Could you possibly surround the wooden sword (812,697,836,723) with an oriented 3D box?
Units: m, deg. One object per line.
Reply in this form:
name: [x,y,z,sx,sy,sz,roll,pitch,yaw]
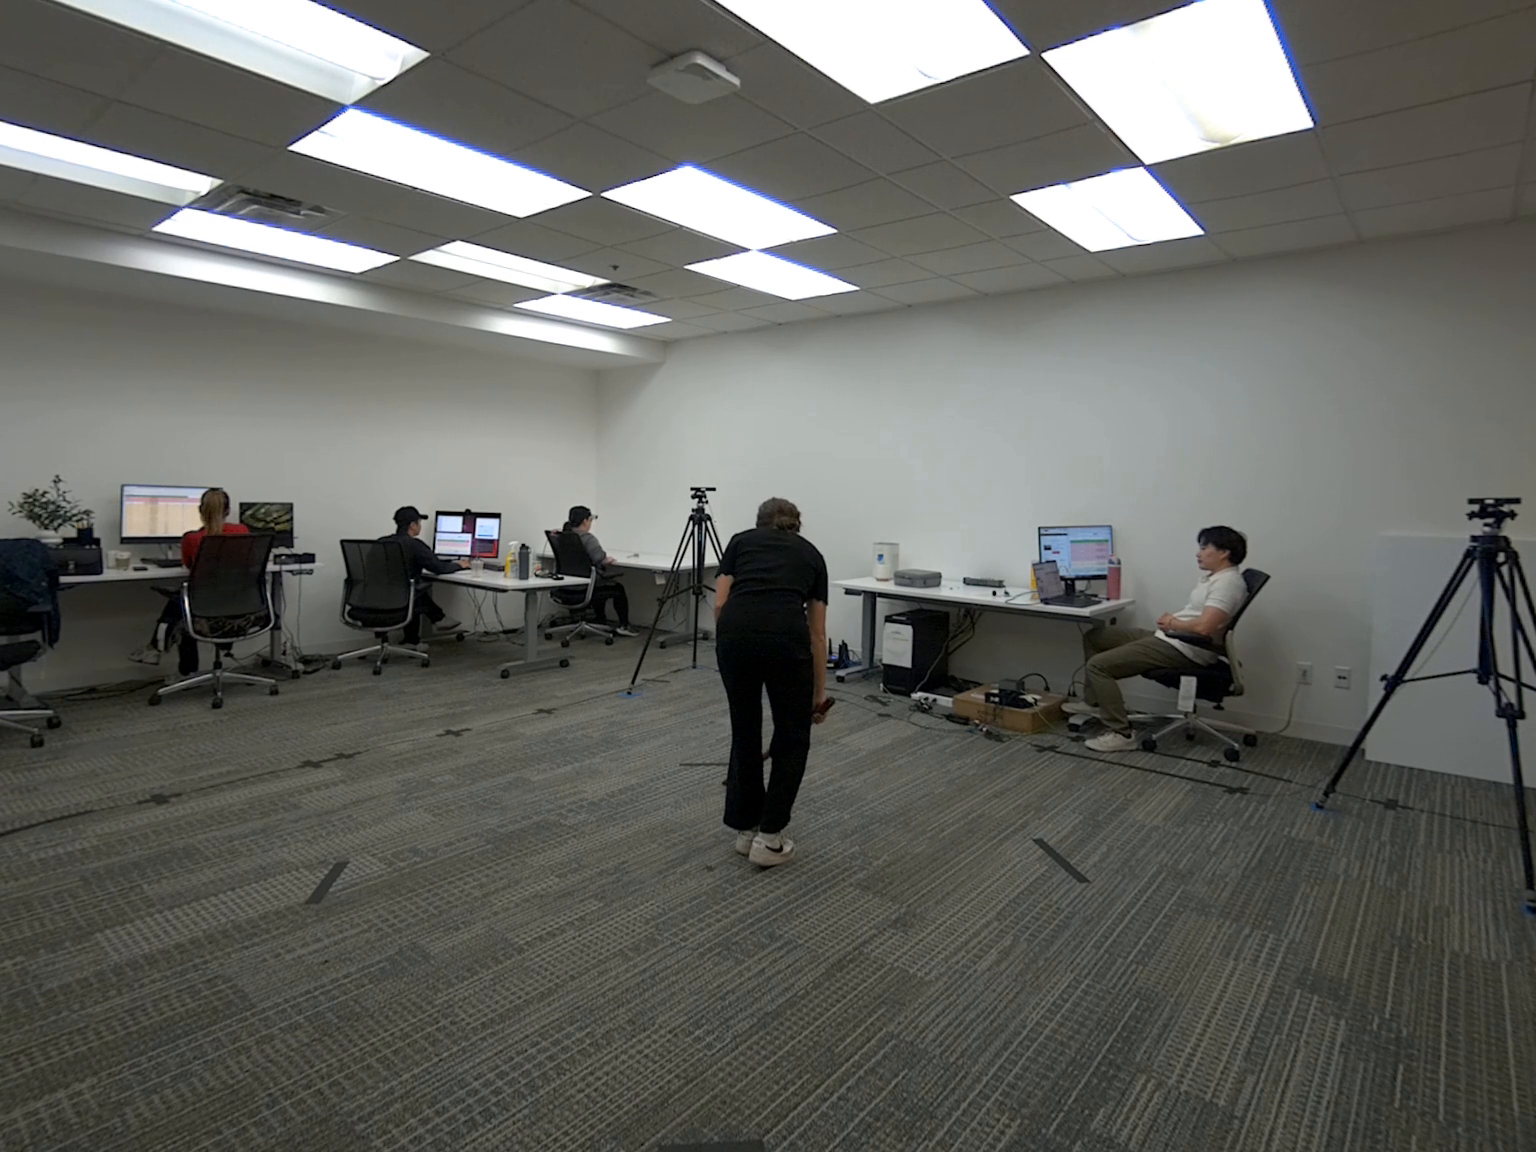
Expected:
wooden sword: [0.004,0.727,3.626,0.024,0.052,1.024,-27,-12,-38]
